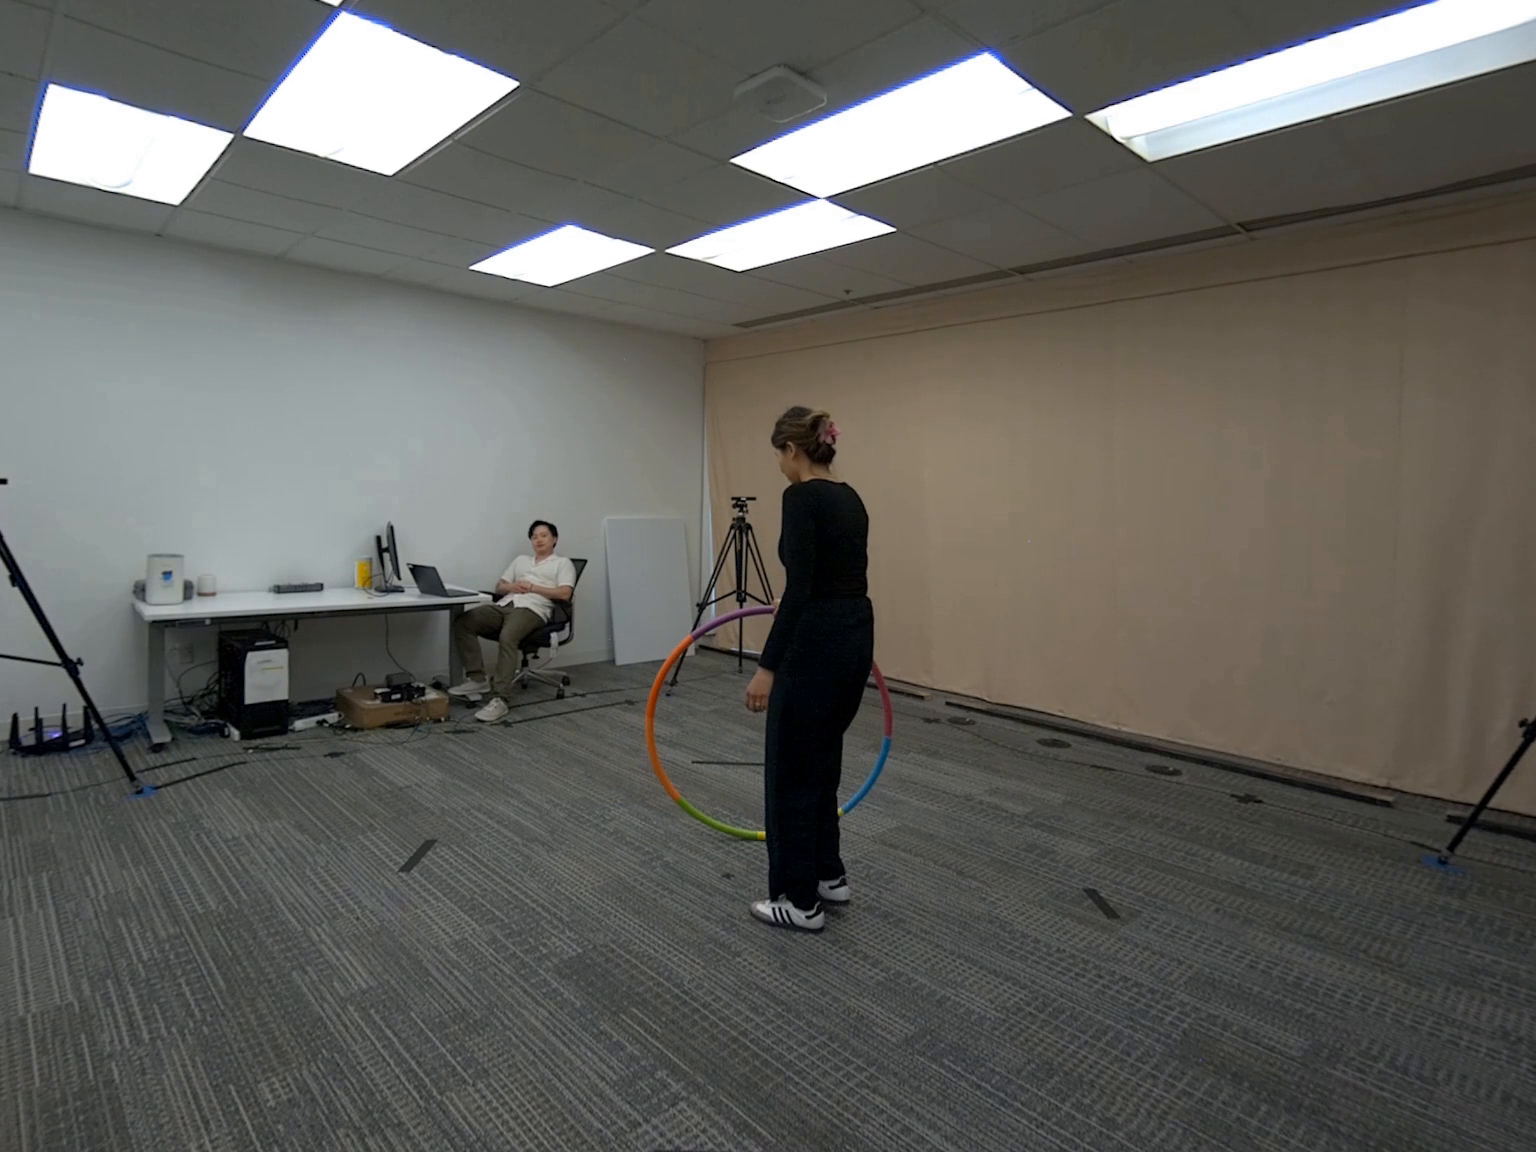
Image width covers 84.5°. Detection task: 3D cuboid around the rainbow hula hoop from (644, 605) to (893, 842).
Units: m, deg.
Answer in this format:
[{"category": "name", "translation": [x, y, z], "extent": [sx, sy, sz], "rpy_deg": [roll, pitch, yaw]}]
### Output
[{"category": "rainbow hula hoop", "translation": [-0.006, 0.596, 3.369], "extent": [0.977, 0.971, 0.036], "rpy_deg": [1, 10, -1]}]
